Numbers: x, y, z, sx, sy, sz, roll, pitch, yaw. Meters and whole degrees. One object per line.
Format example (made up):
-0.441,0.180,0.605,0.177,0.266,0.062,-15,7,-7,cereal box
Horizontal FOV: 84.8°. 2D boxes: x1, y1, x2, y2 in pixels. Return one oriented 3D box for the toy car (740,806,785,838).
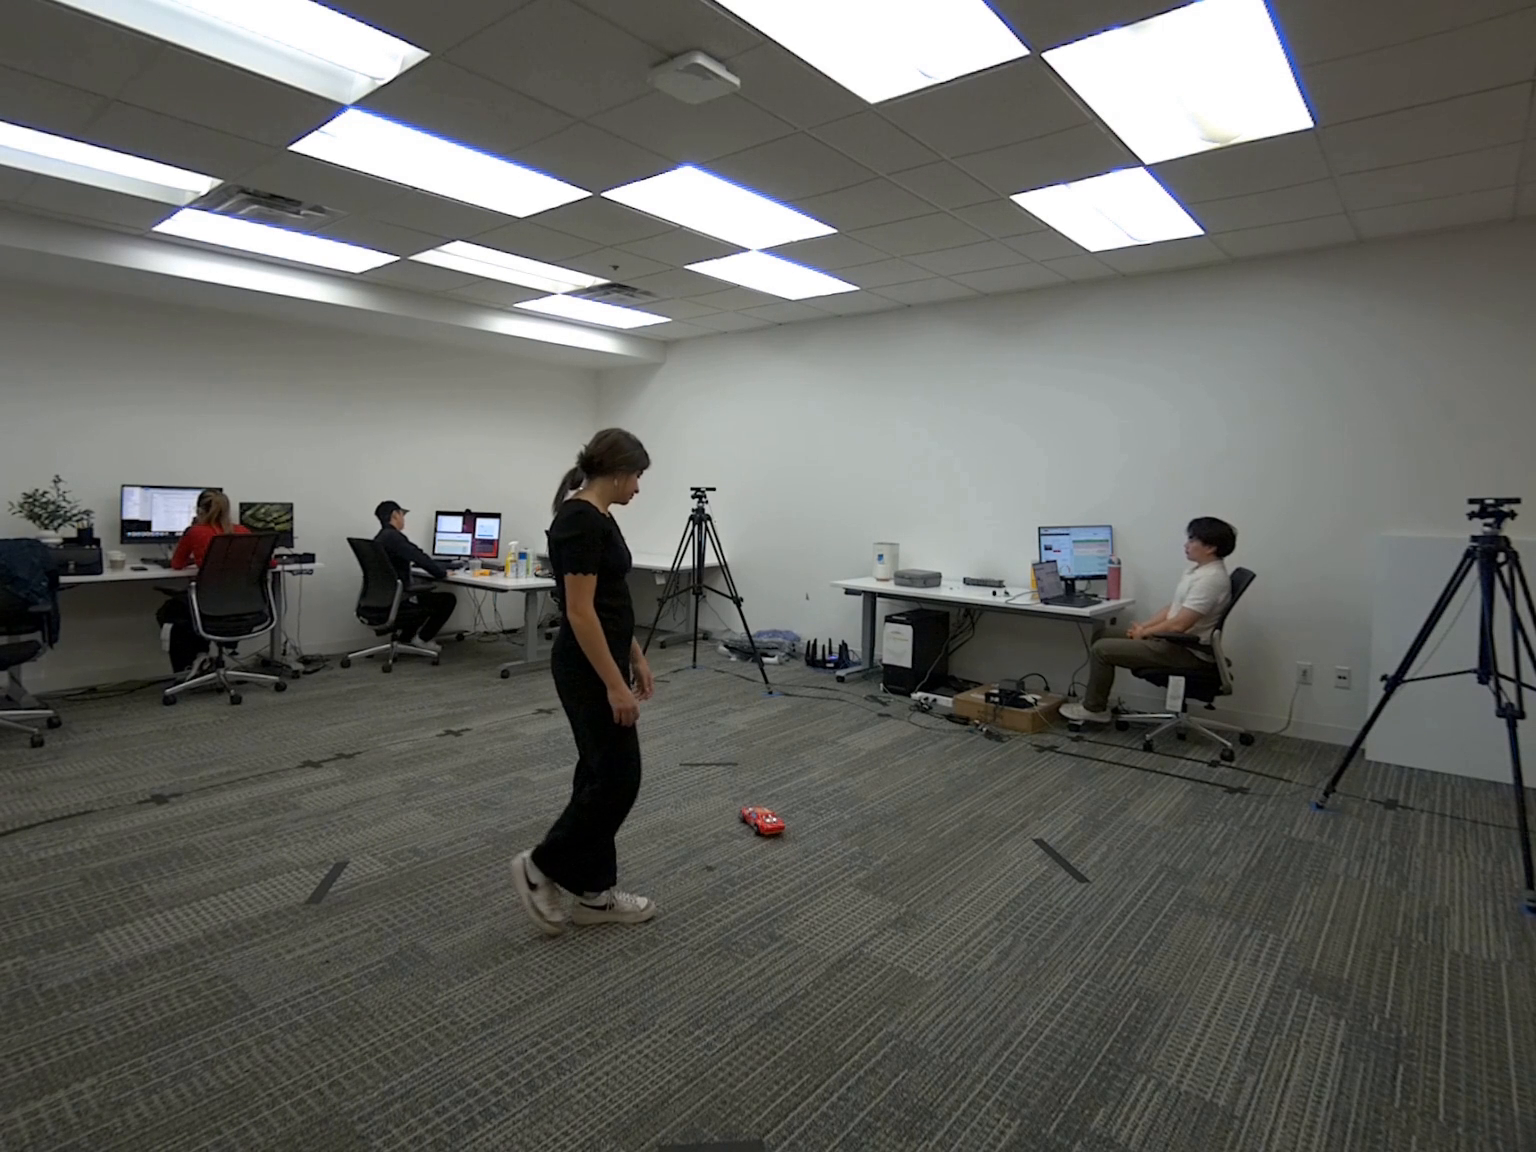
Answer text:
-0.028,1.001,3.485,0.127,0.084,0.259,-1,-5,-25,toy car
